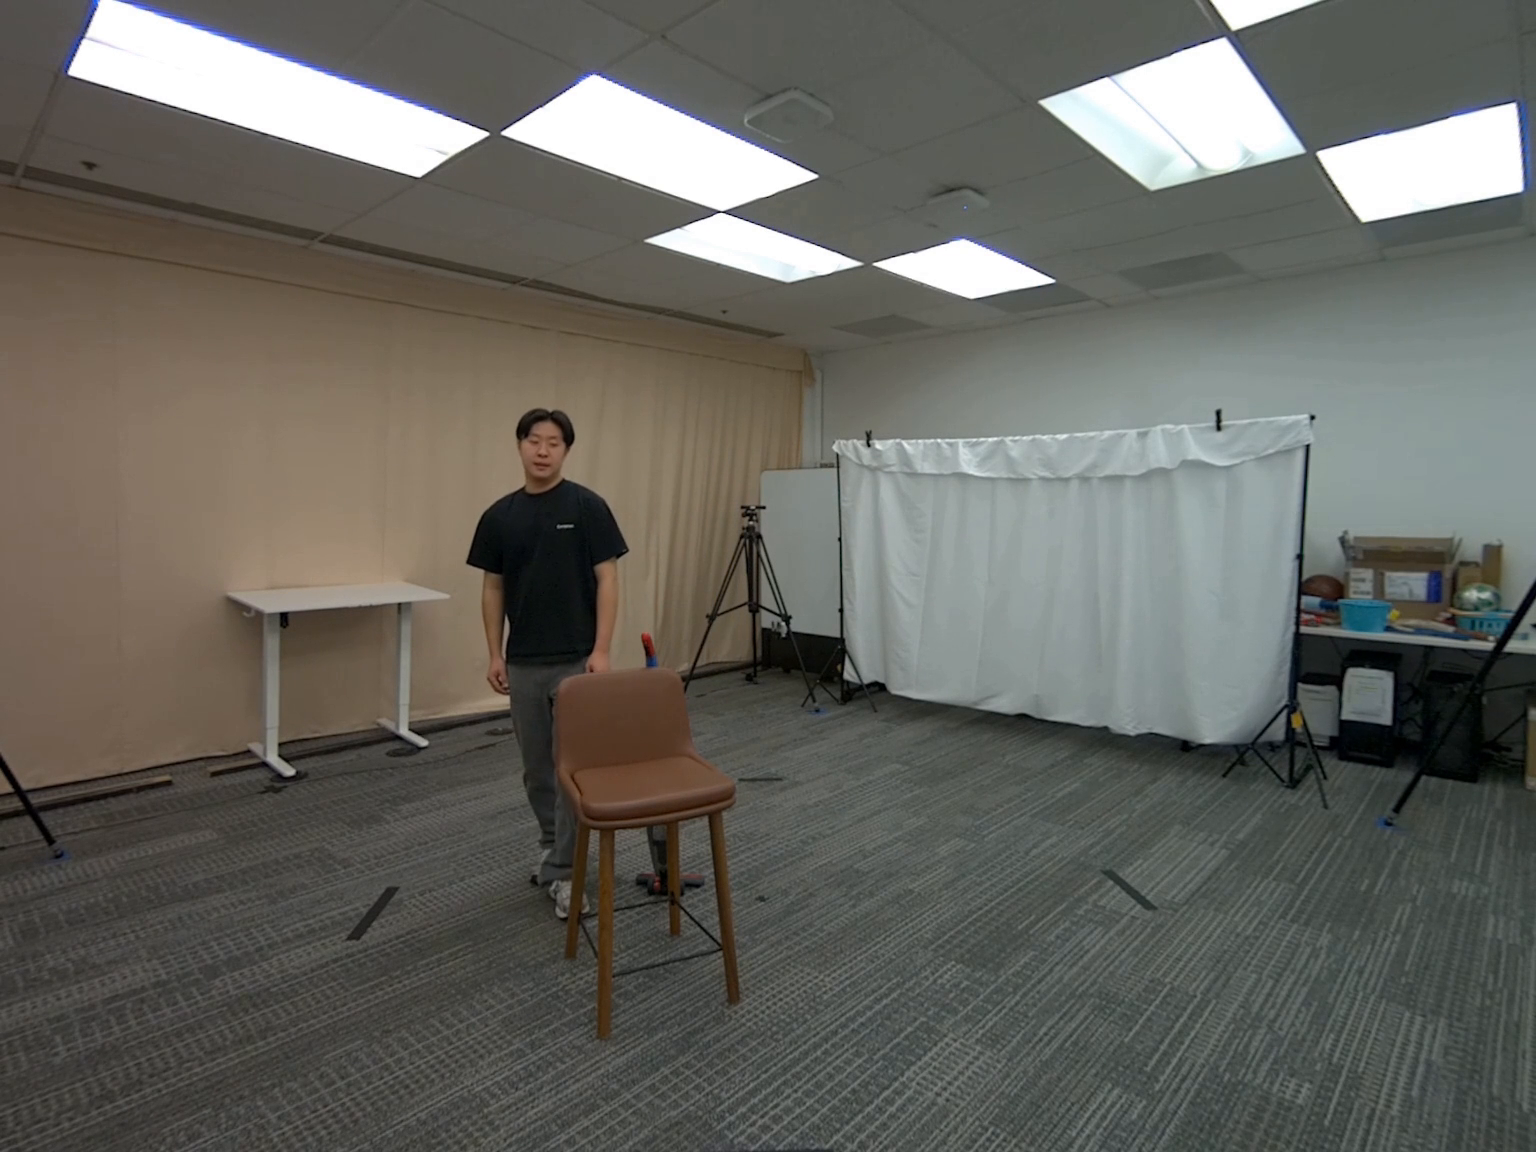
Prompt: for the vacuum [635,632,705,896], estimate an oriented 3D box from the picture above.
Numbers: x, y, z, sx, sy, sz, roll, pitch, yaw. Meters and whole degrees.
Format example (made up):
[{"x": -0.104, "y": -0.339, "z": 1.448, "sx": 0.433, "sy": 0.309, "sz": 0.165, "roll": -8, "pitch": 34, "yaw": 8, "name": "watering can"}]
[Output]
[{"x": -0.374, "y": 0.659, "z": 2.855, "sx": 0.252, "sy": 1.034, "sz": 0.146, "roll": -3, "pitch": 23, "yaw": -2, "name": "vacuum"}]
